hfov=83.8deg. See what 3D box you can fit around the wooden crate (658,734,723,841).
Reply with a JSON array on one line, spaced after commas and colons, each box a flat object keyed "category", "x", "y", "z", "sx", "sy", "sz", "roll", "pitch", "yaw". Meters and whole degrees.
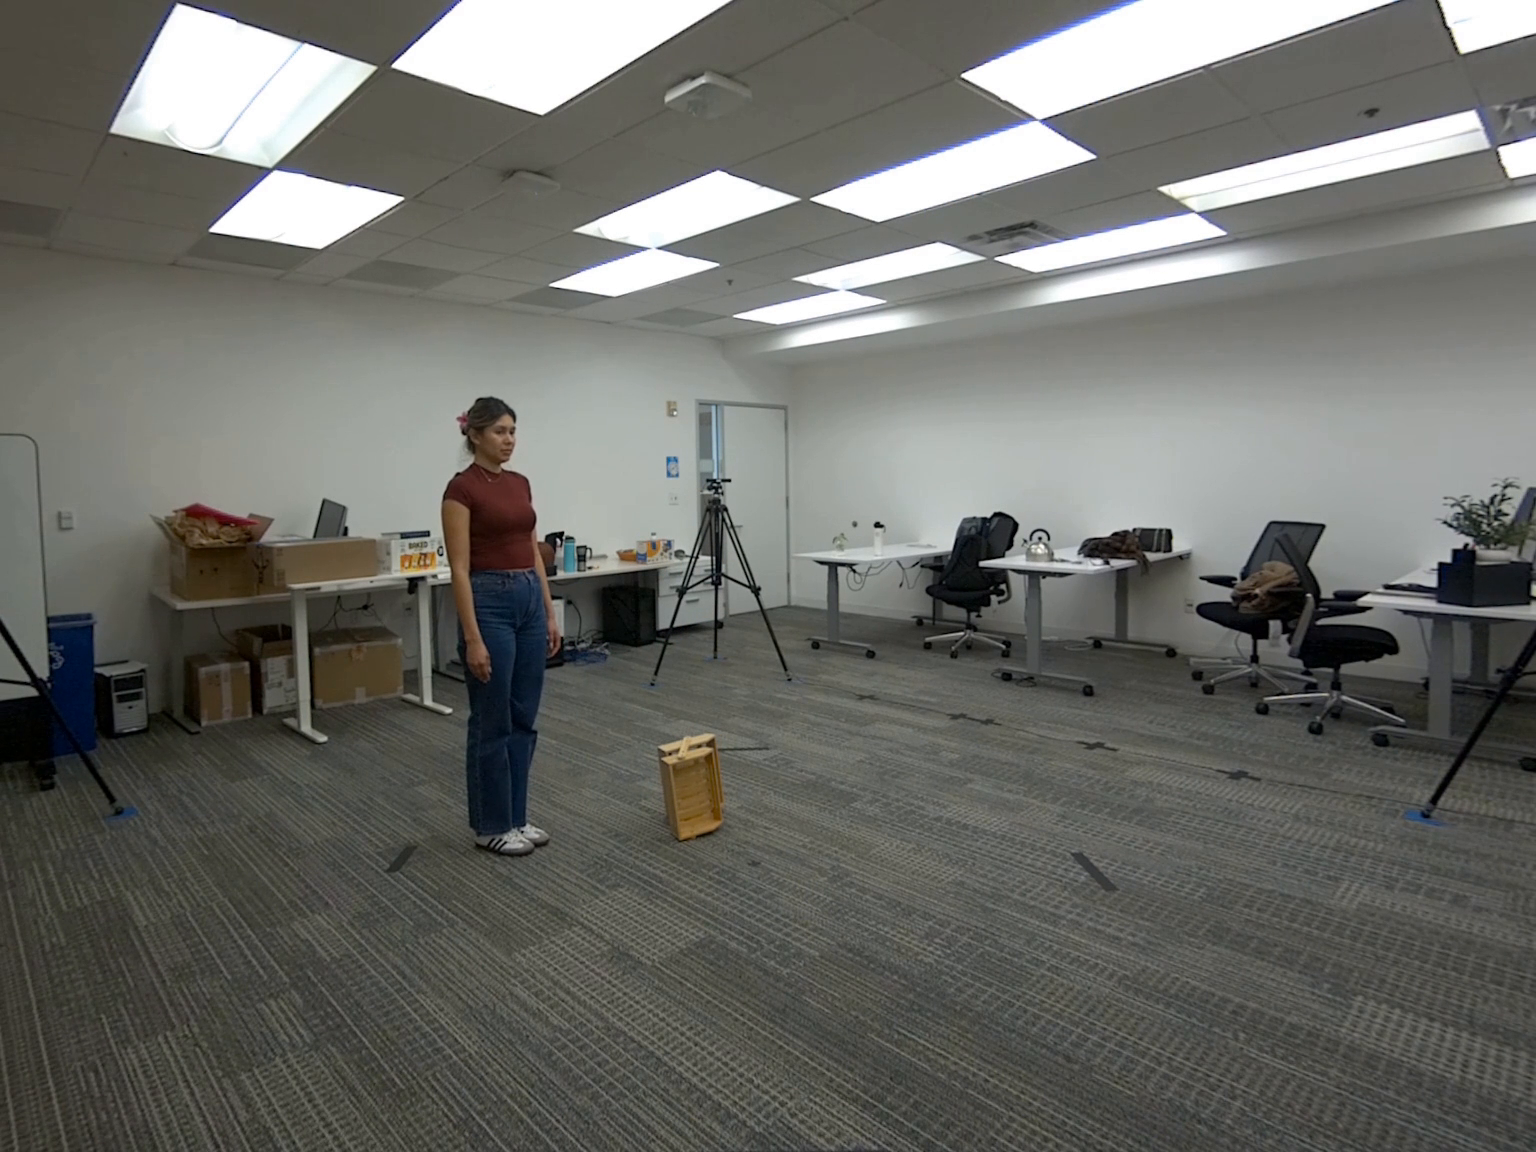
[{"category": "wooden crate", "x": -0.290, "y": 0.841, "z": 3.462, "sx": 0.296, "sy": 0.323, "sz": 0.279, "roll": -9, "pitch": 4, "yaw": -26}]
